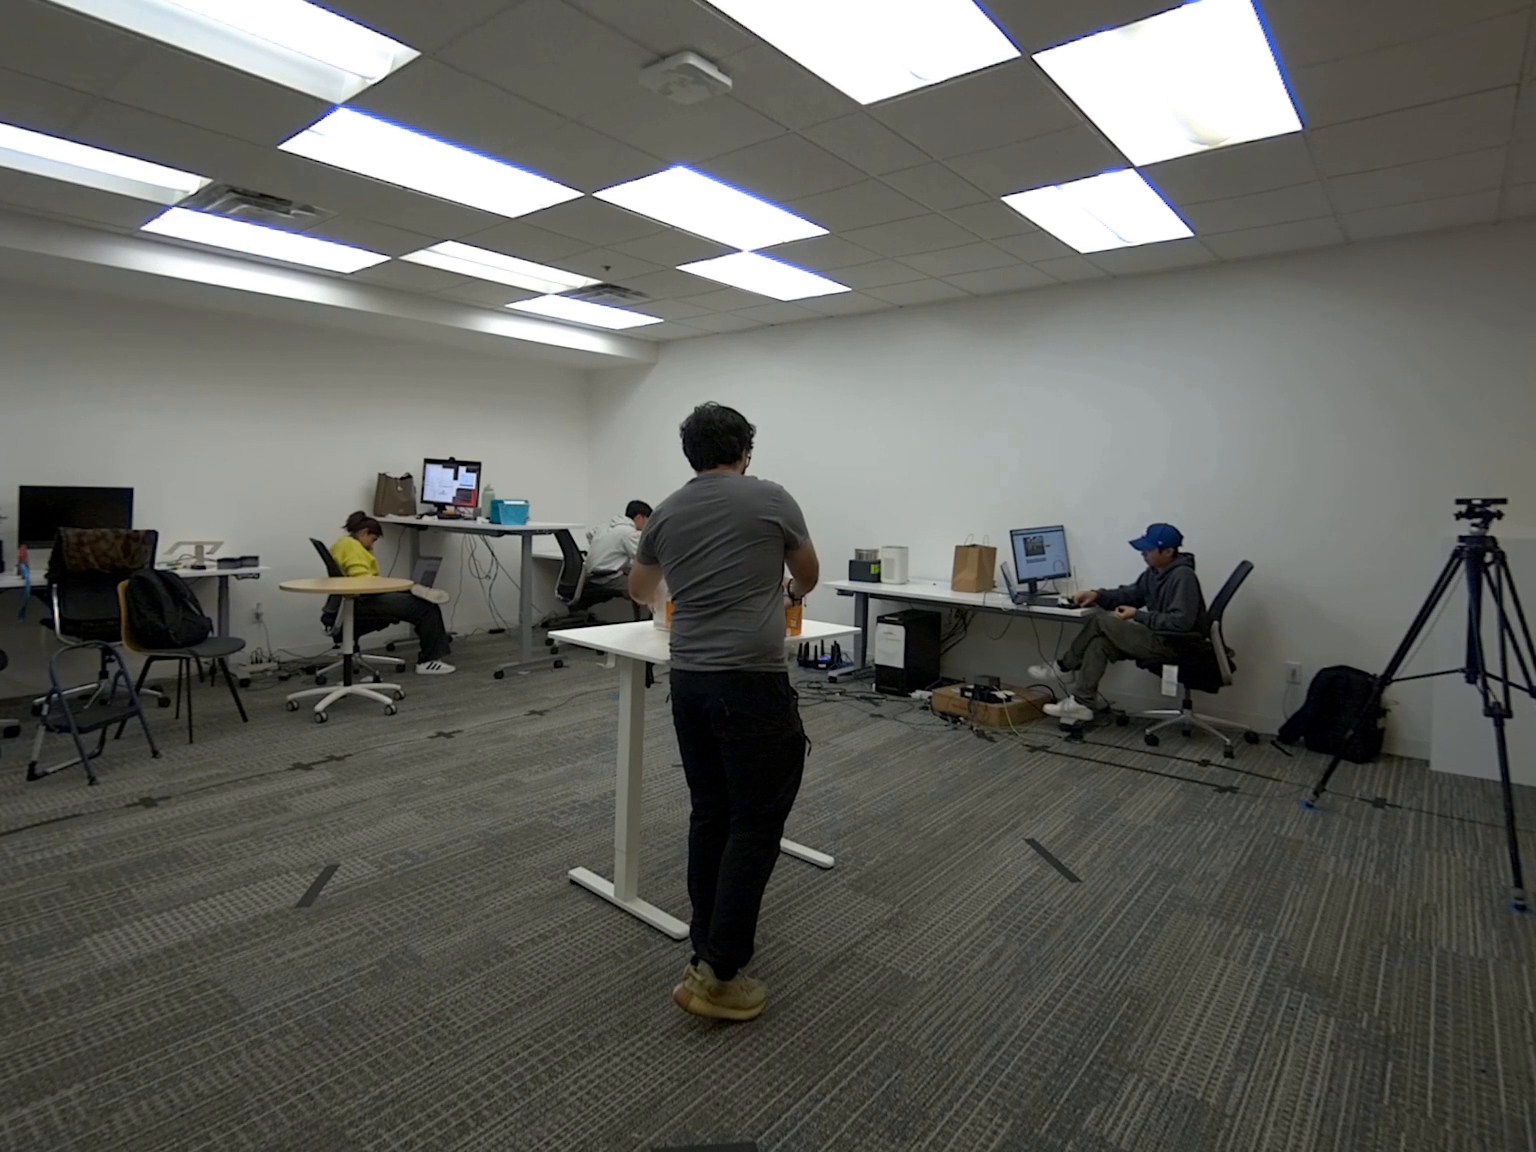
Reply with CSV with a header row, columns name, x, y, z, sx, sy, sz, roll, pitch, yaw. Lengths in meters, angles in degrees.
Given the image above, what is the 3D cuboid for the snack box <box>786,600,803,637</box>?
name,x,y,z,sx,sy,sz,roll,pitch,yaw
snack box,-0.149,0.095,3.012,0.419,0.205,0.330,5,6,40
